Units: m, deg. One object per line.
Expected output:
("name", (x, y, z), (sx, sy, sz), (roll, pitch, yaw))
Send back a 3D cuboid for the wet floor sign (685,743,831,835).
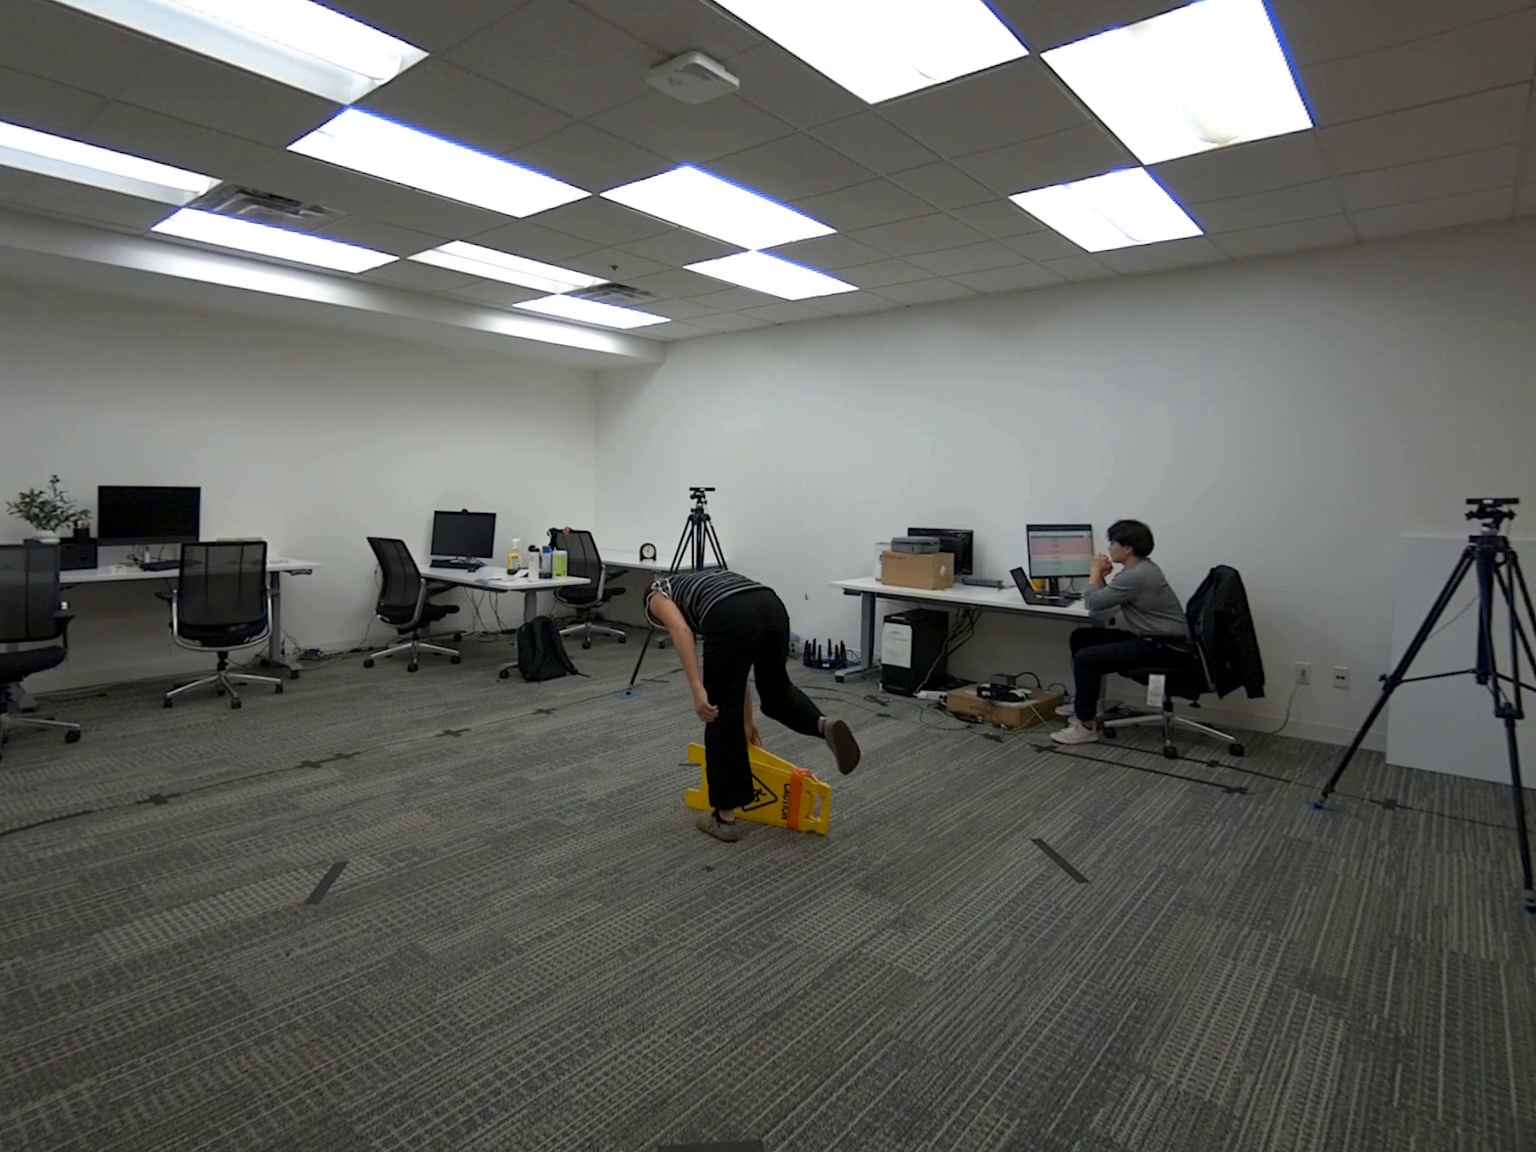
("wet floor sign", (-0.030, 0.896, 3.622), (0.668, 0.281, 0.281), (9, 6, 36))
